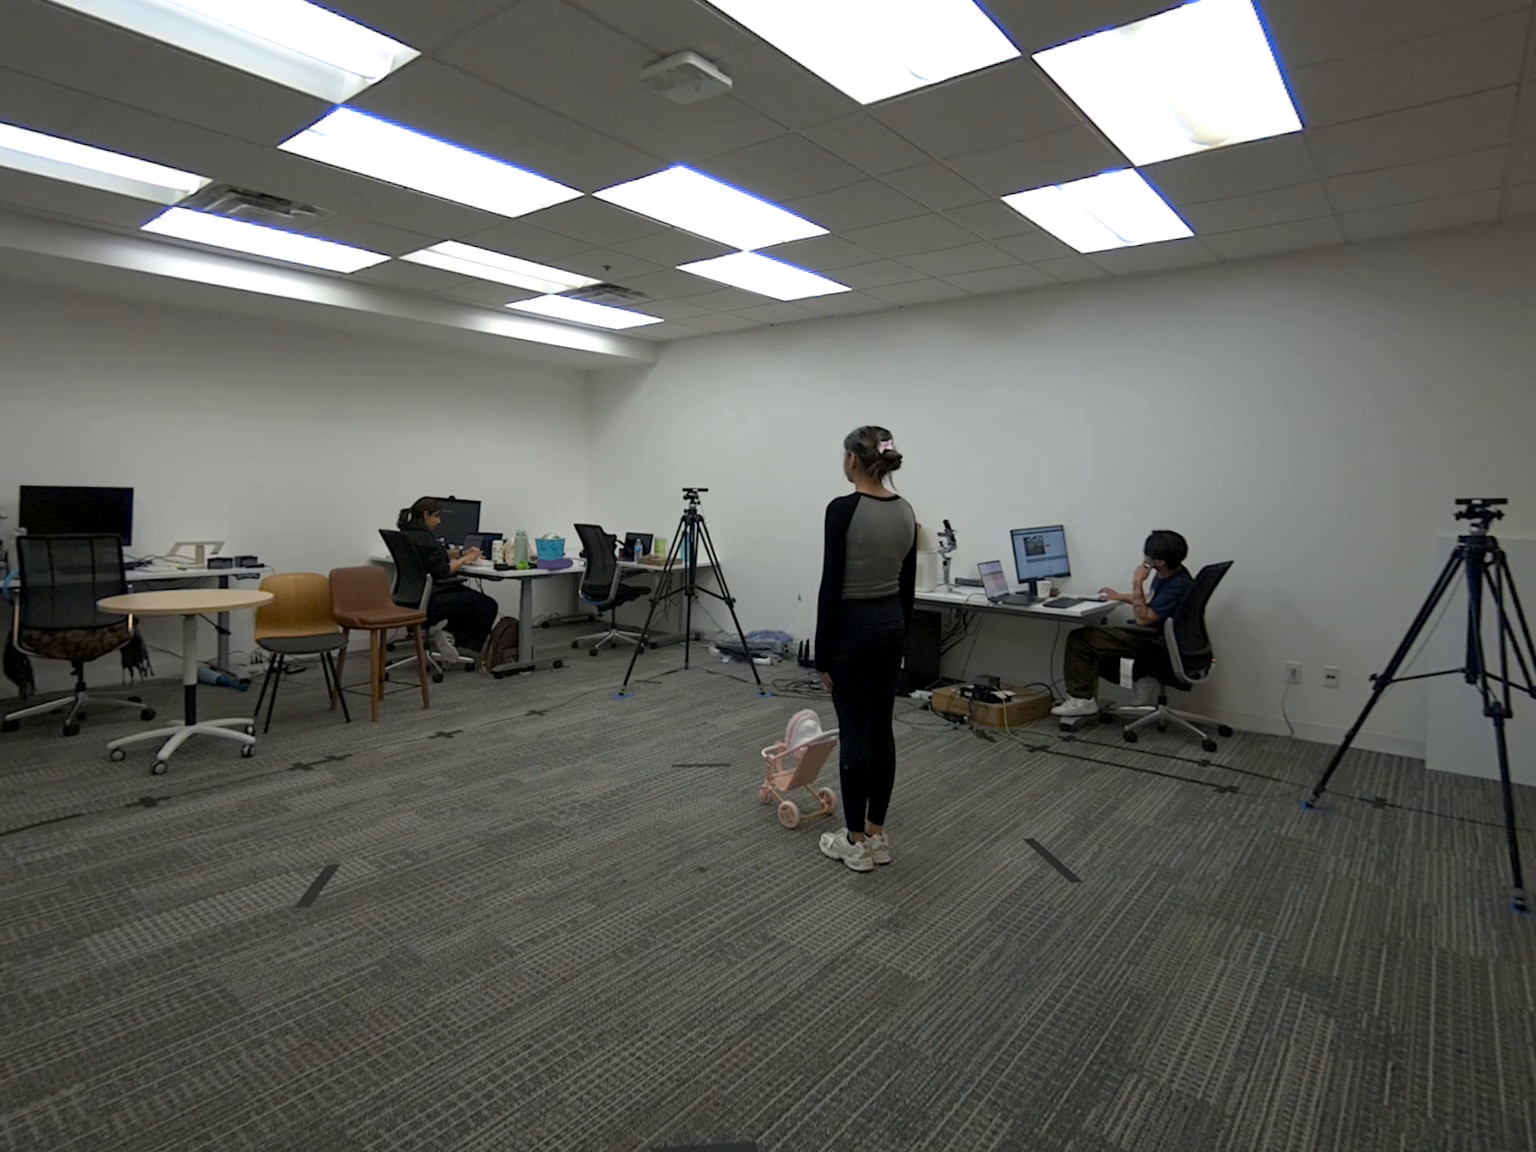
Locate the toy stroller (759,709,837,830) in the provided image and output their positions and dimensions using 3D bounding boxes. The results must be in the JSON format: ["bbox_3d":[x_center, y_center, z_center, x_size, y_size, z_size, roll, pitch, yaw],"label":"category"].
[{"bbox_3d":[0.126,0.803,3.640,0.273,0.529,0.356,-1,21,-41],"label":"toy stroller"}]
